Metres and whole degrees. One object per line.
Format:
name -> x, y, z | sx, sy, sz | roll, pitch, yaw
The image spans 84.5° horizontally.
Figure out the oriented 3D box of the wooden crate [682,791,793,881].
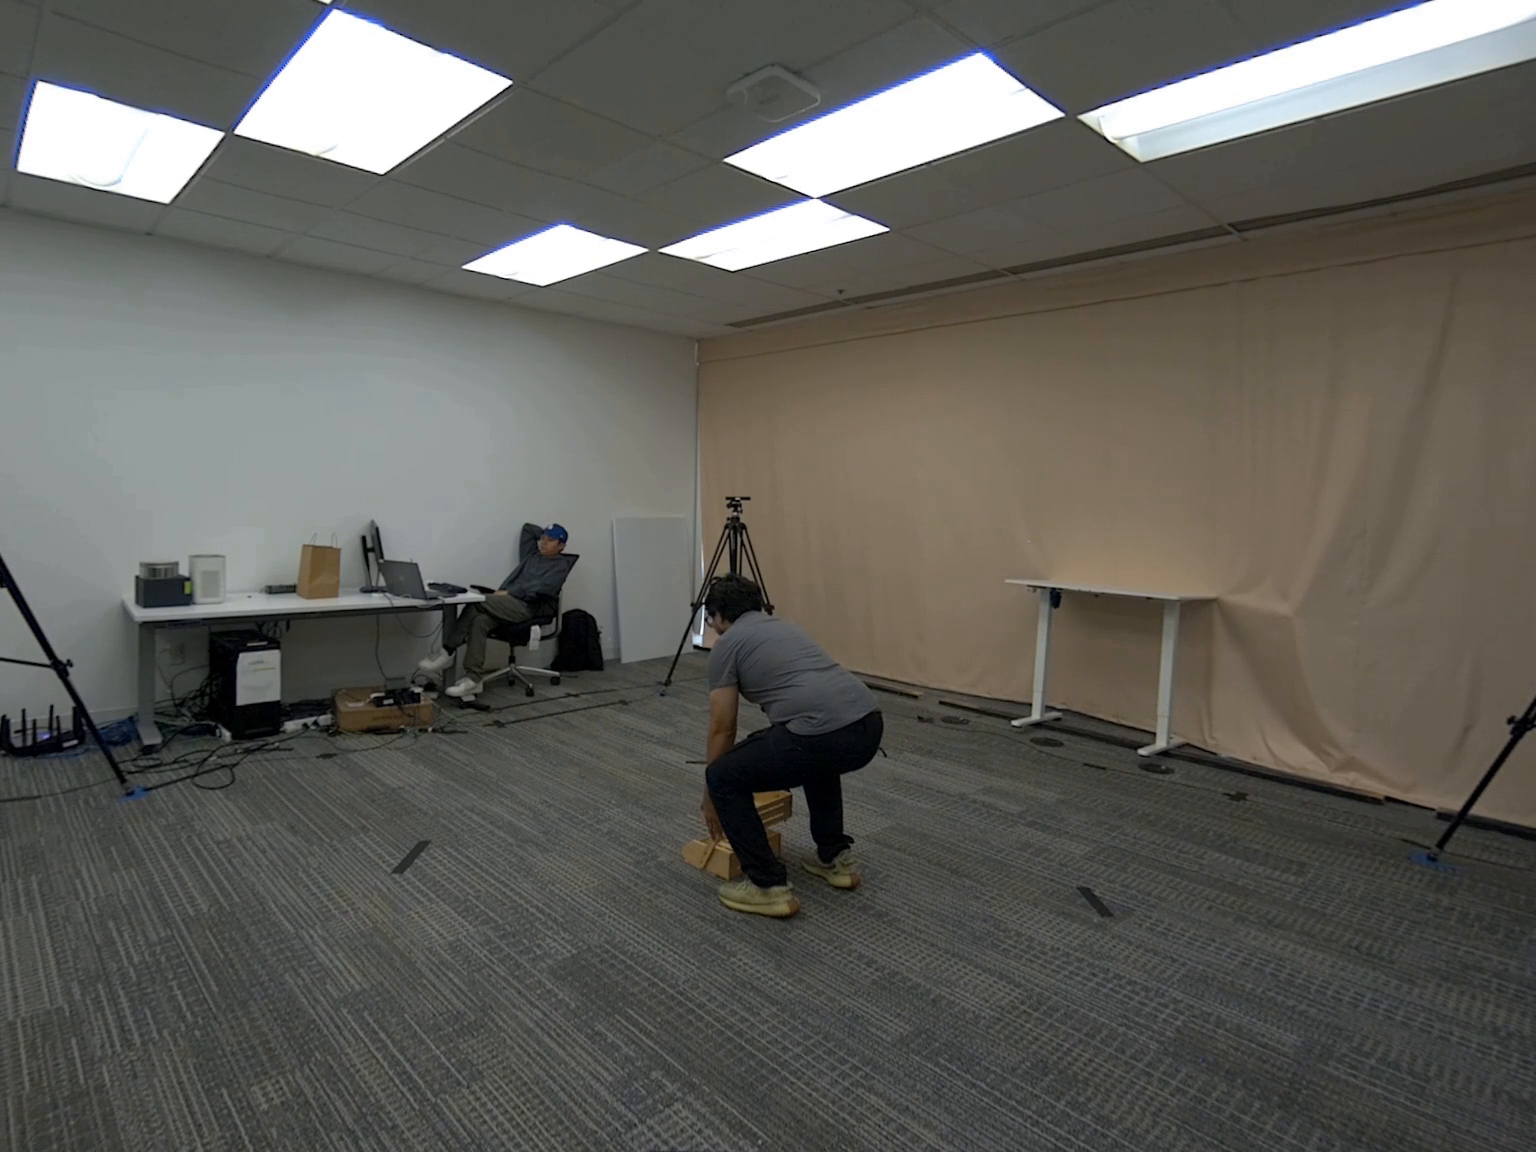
wooden crate -> -0.123, 0.958, 3.238 | 0.310, 0.272, 0.317 | 5, 5, 41
